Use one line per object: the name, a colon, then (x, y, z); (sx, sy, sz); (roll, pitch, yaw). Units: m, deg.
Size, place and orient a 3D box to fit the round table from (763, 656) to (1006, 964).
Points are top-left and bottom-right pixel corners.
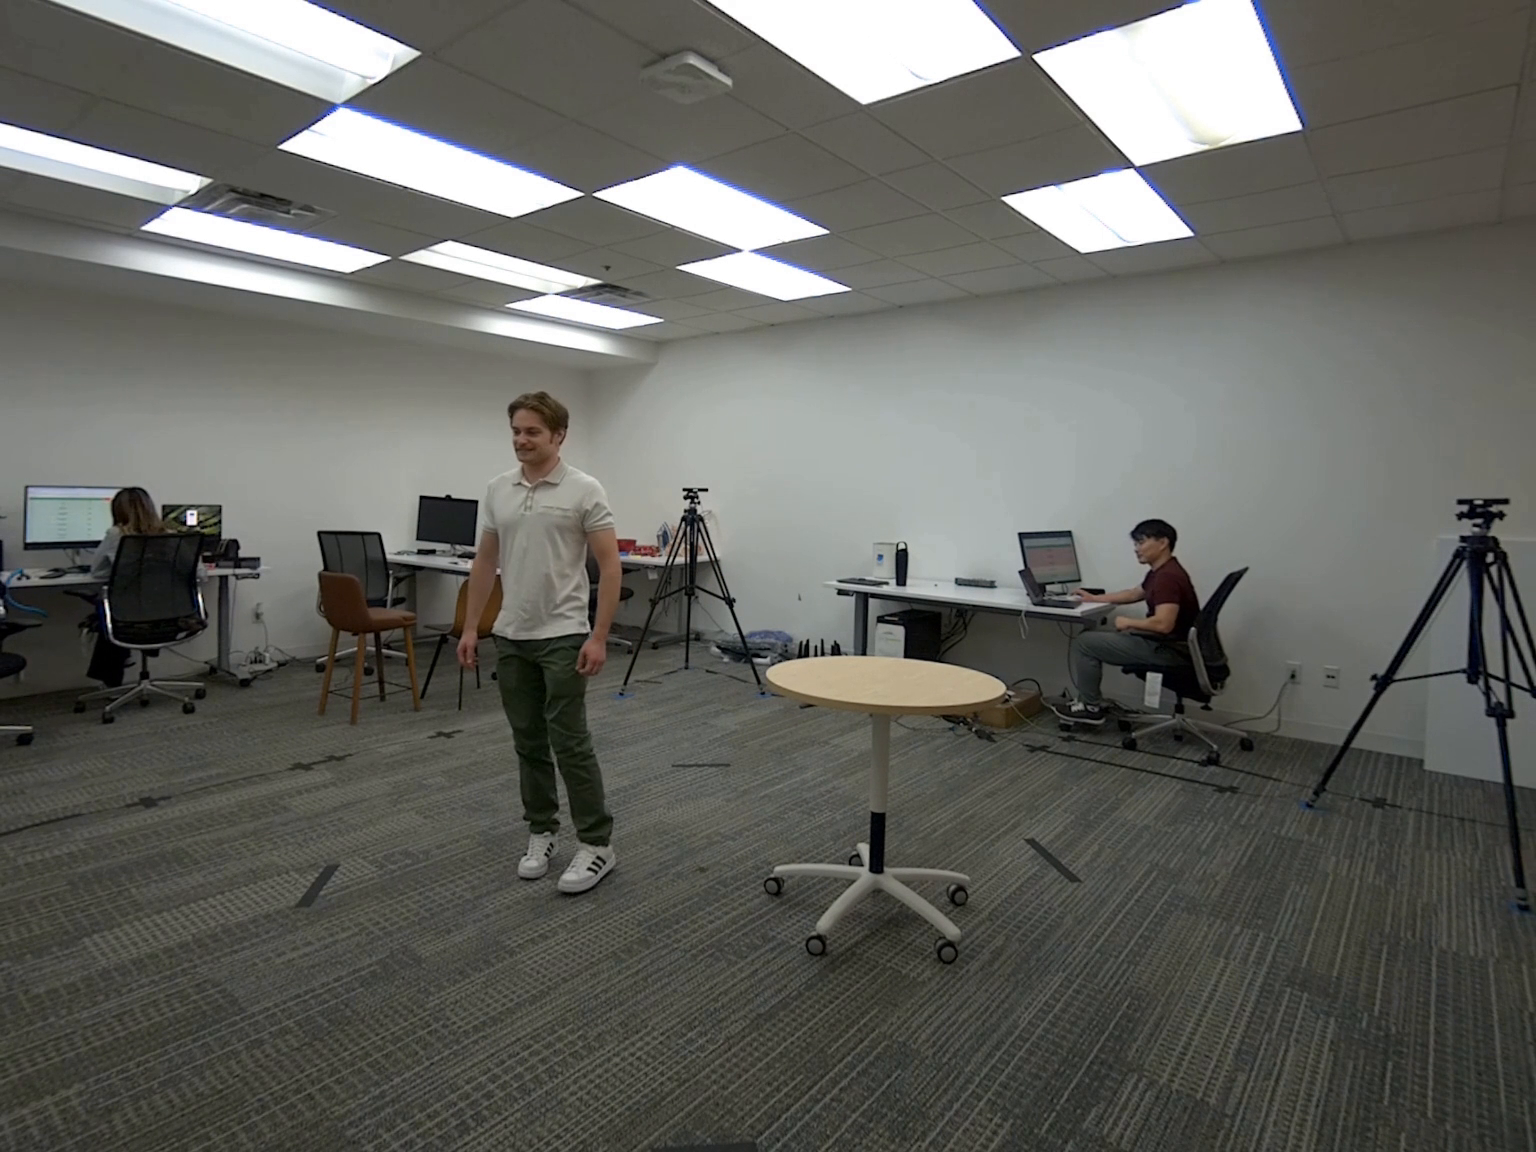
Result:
round table: (0.353, 0.725, 2.796); (0.763, 0.791, 0.768); (1, 4, -2)
